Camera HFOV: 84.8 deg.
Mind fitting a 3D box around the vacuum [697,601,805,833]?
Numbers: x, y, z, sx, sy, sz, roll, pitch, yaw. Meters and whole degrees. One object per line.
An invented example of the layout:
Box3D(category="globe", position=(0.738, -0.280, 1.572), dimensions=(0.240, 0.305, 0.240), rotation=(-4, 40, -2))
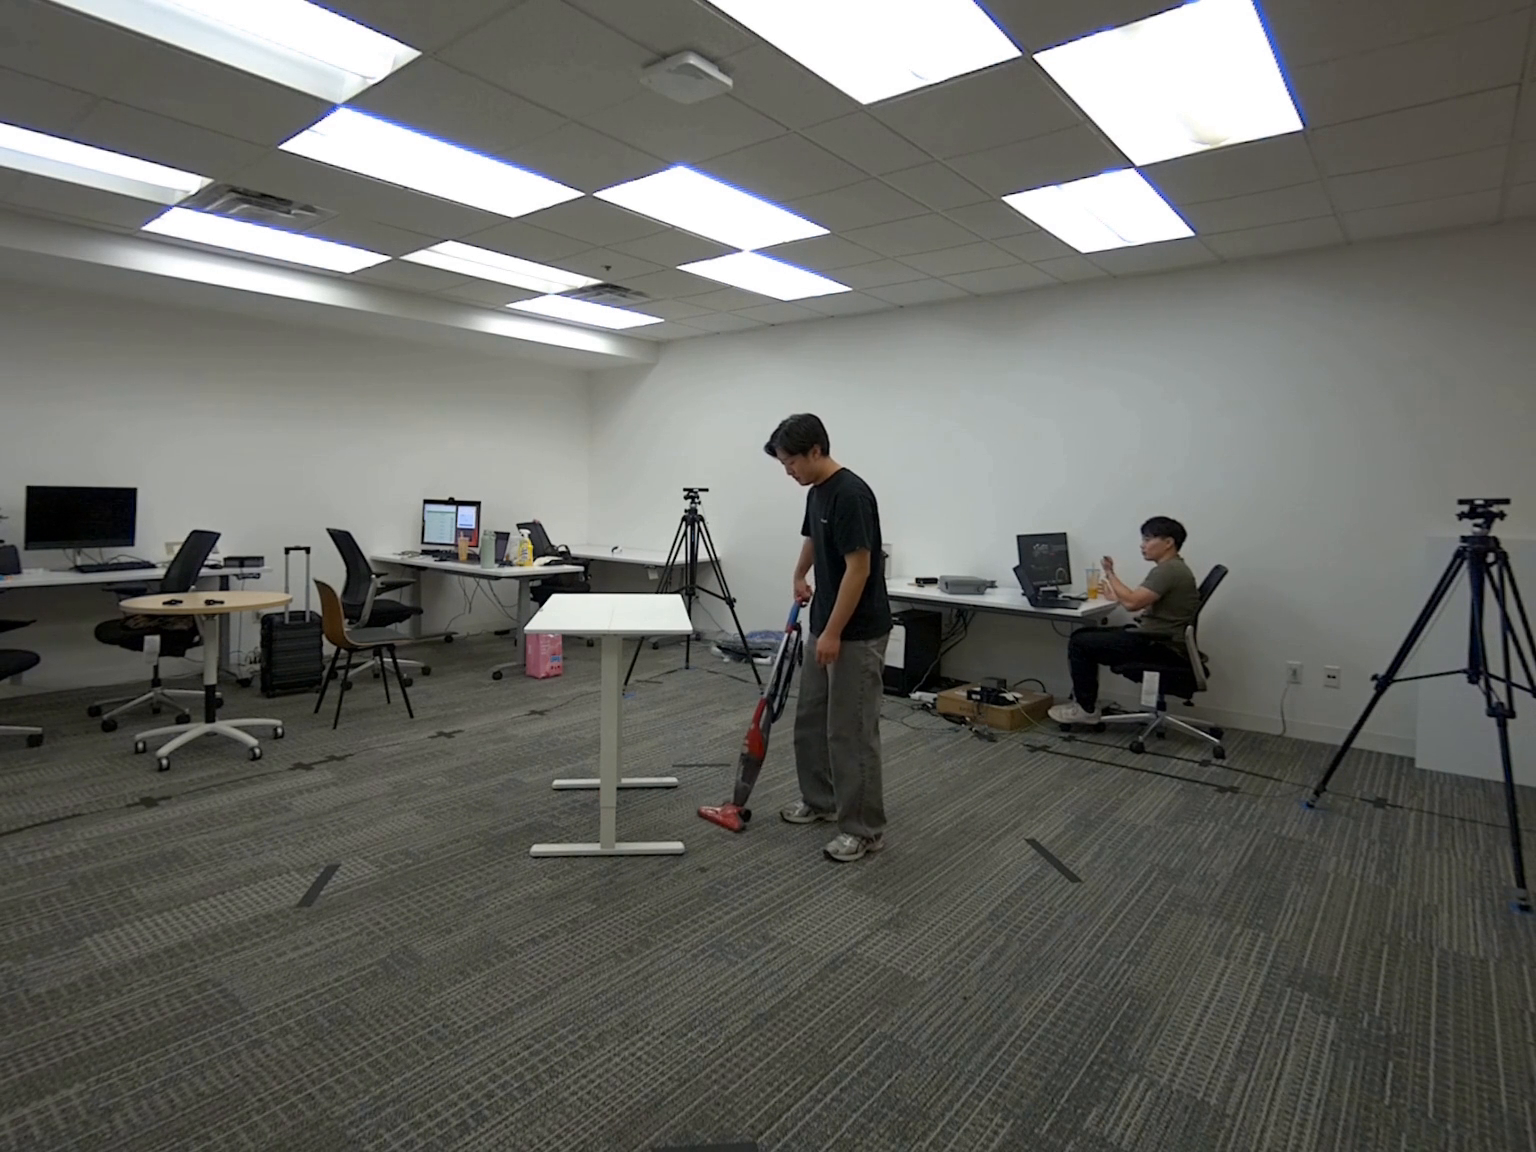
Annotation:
Box3D(category="vacuum", position=(-0.012, 0.548, 3.705), dimensions=(0.261, 1.057, 0.138), rotation=(5, -21, 44))
